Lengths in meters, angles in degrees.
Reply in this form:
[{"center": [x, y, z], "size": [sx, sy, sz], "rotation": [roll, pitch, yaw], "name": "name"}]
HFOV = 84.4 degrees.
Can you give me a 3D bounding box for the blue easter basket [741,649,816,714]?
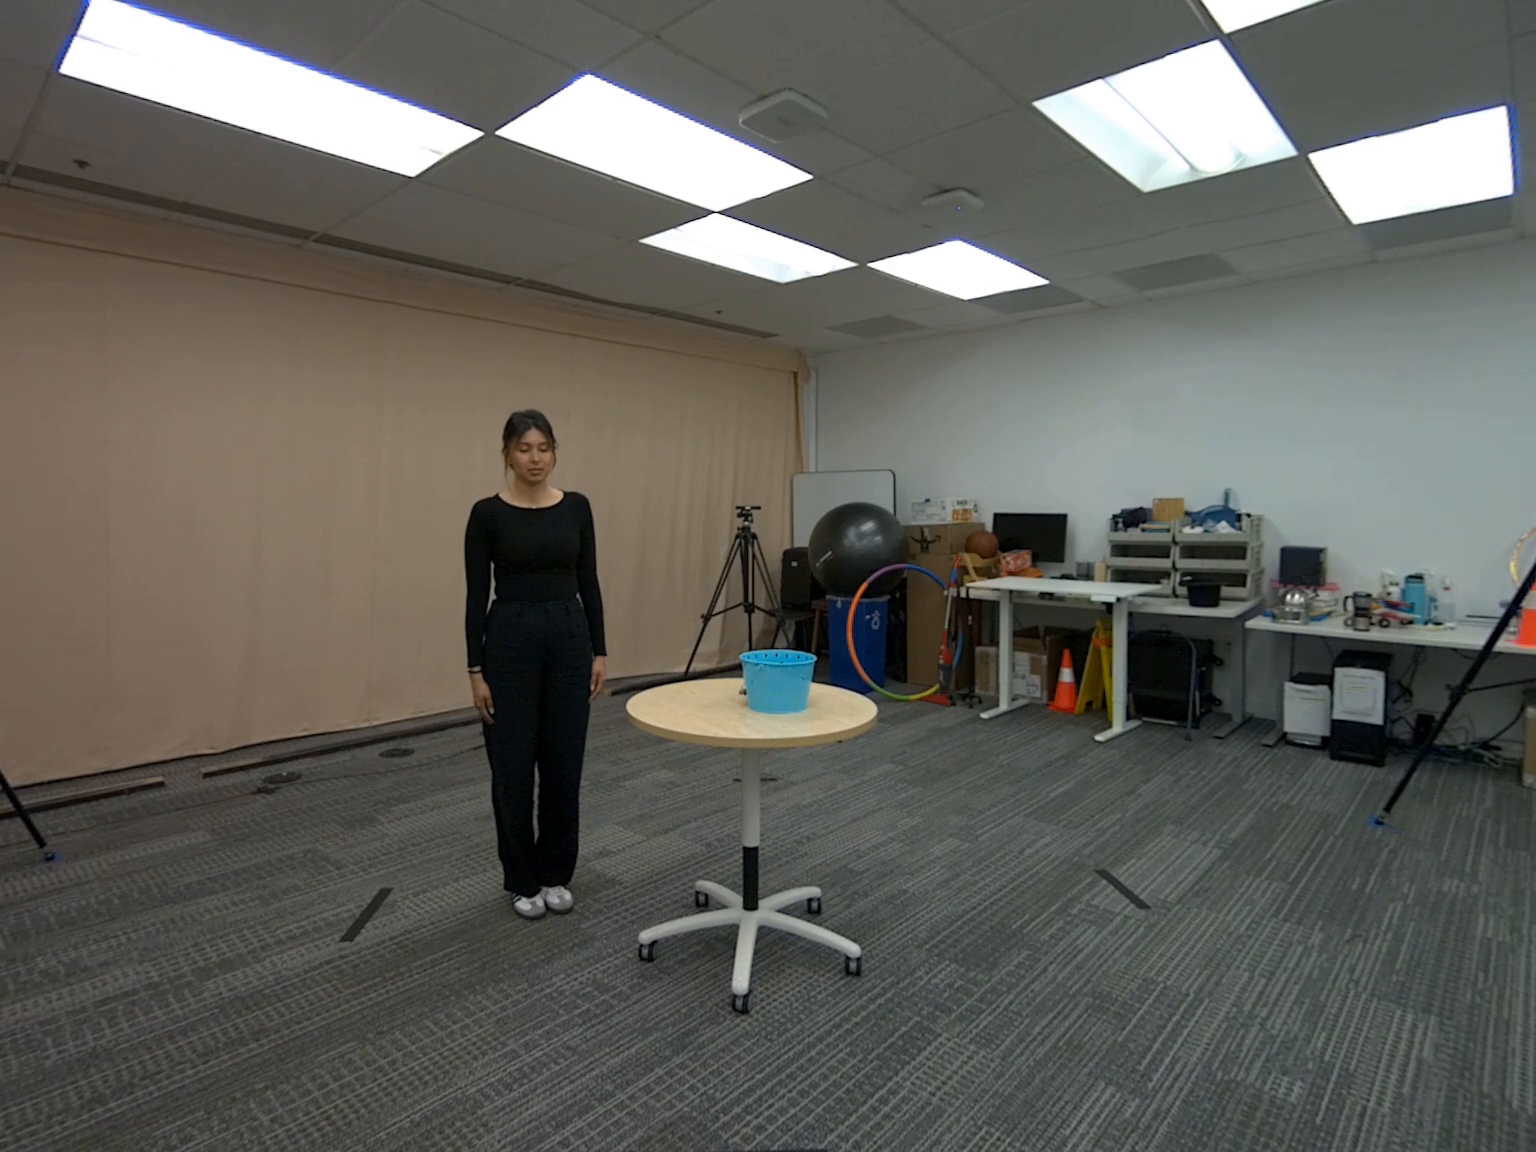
[{"center": [0.030, 0.326, 2.556], "size": [0.243, 0.155, 0.245], "rotation": [1, 5, -2], "name": "blue easter basket"}]
